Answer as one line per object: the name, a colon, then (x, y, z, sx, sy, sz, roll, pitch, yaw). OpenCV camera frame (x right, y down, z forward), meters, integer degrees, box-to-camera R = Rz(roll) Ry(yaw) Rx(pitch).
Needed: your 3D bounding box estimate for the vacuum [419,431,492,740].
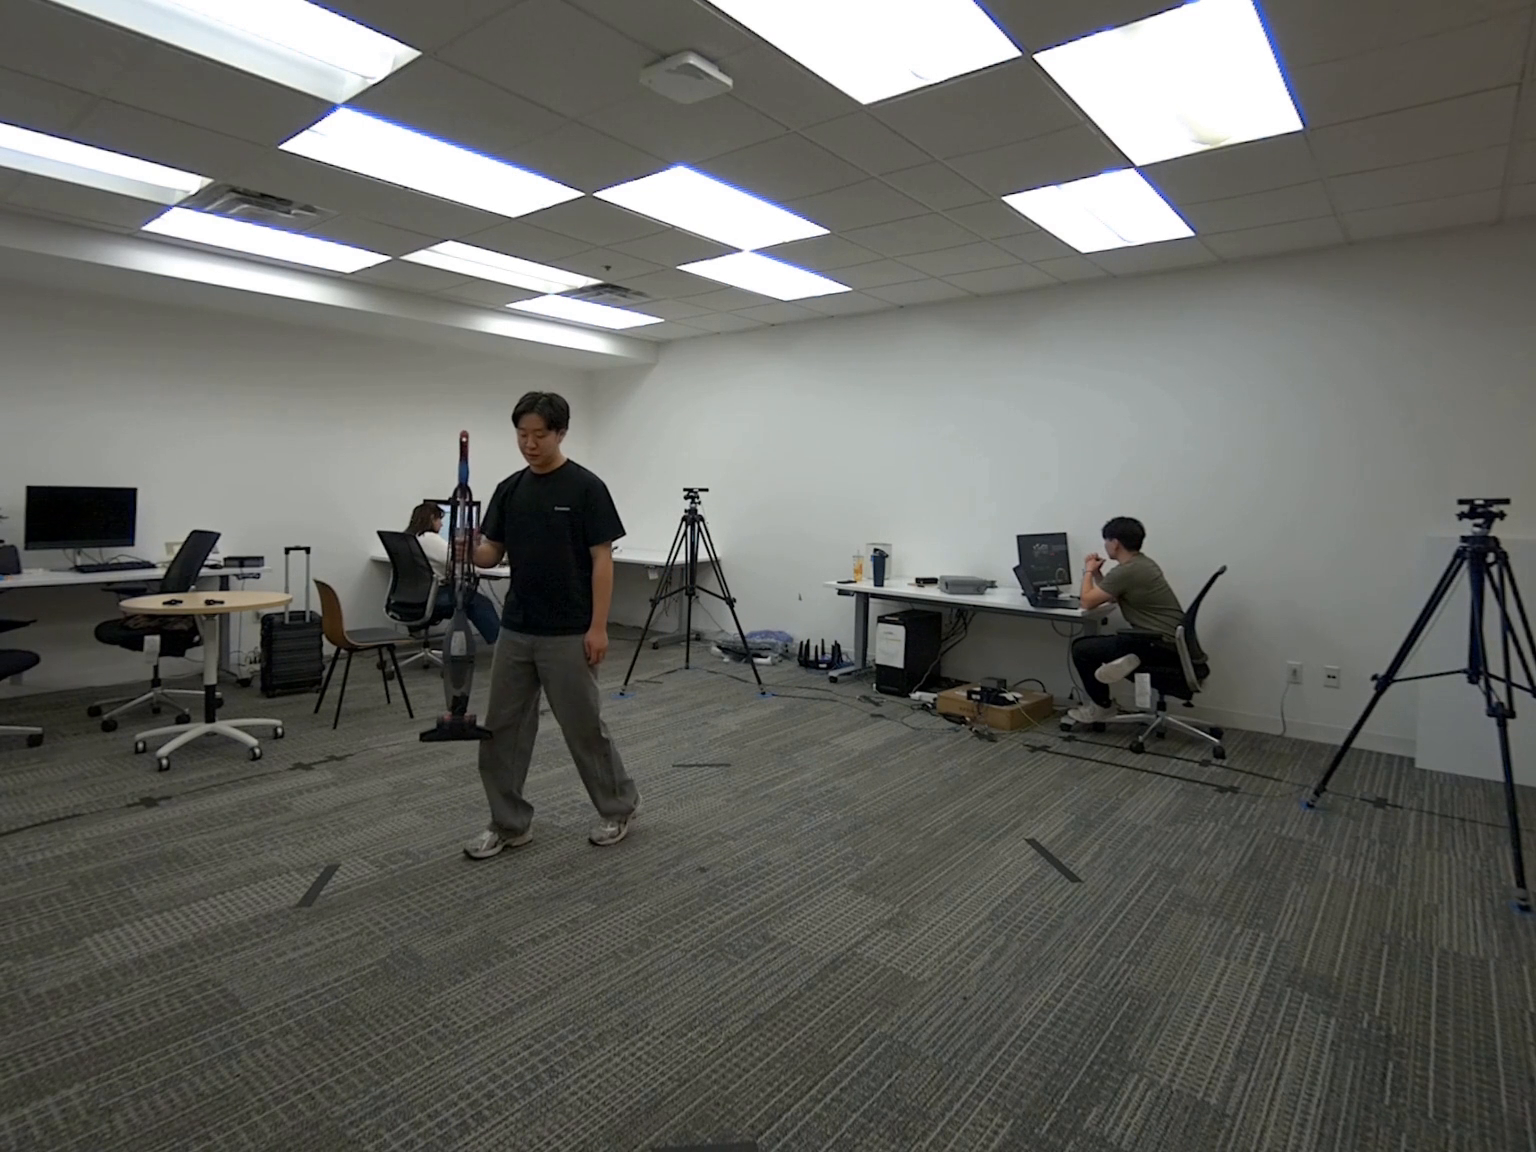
vacuum: (-1.104, 0.014, 3.005, 0.249, 1.048, 0.146, 2, 1, -12)
